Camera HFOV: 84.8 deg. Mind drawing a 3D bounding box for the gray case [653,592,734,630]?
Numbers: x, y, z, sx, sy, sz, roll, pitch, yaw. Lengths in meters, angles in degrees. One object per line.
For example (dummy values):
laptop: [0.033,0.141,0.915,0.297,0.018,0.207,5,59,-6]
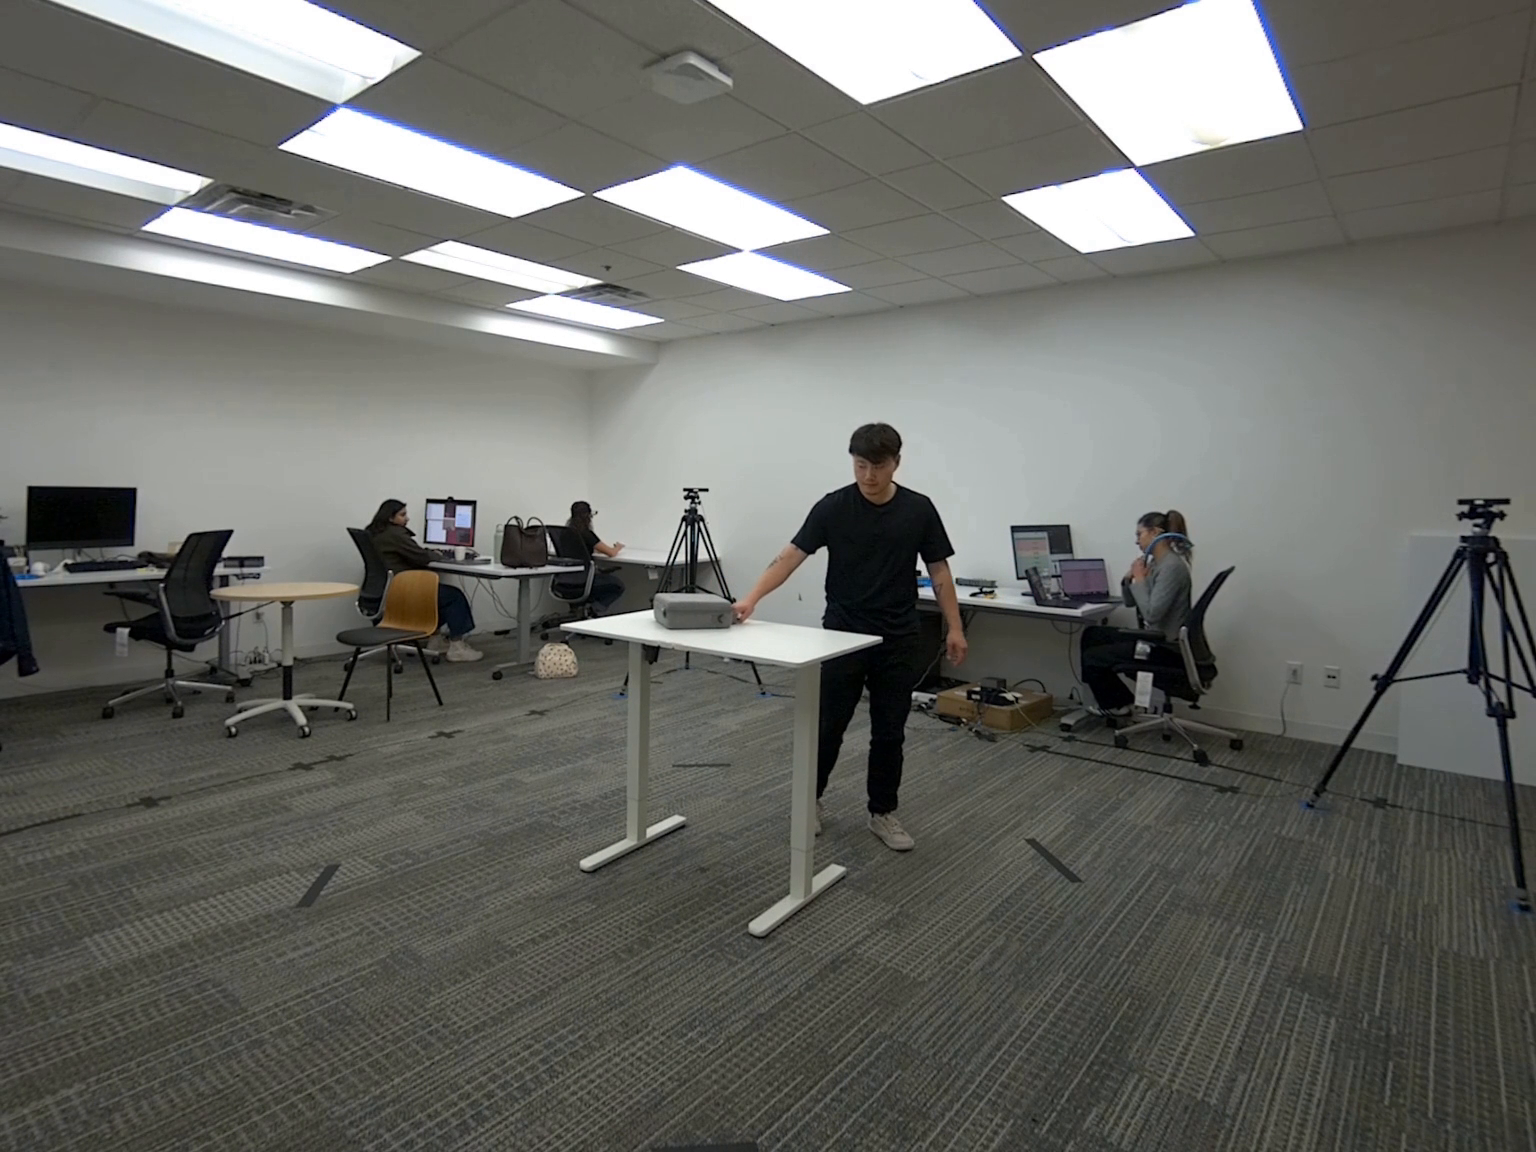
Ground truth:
gray case: [-0.290,0.125,3.179,0.256,0.104,0.262,1,4,-18]
